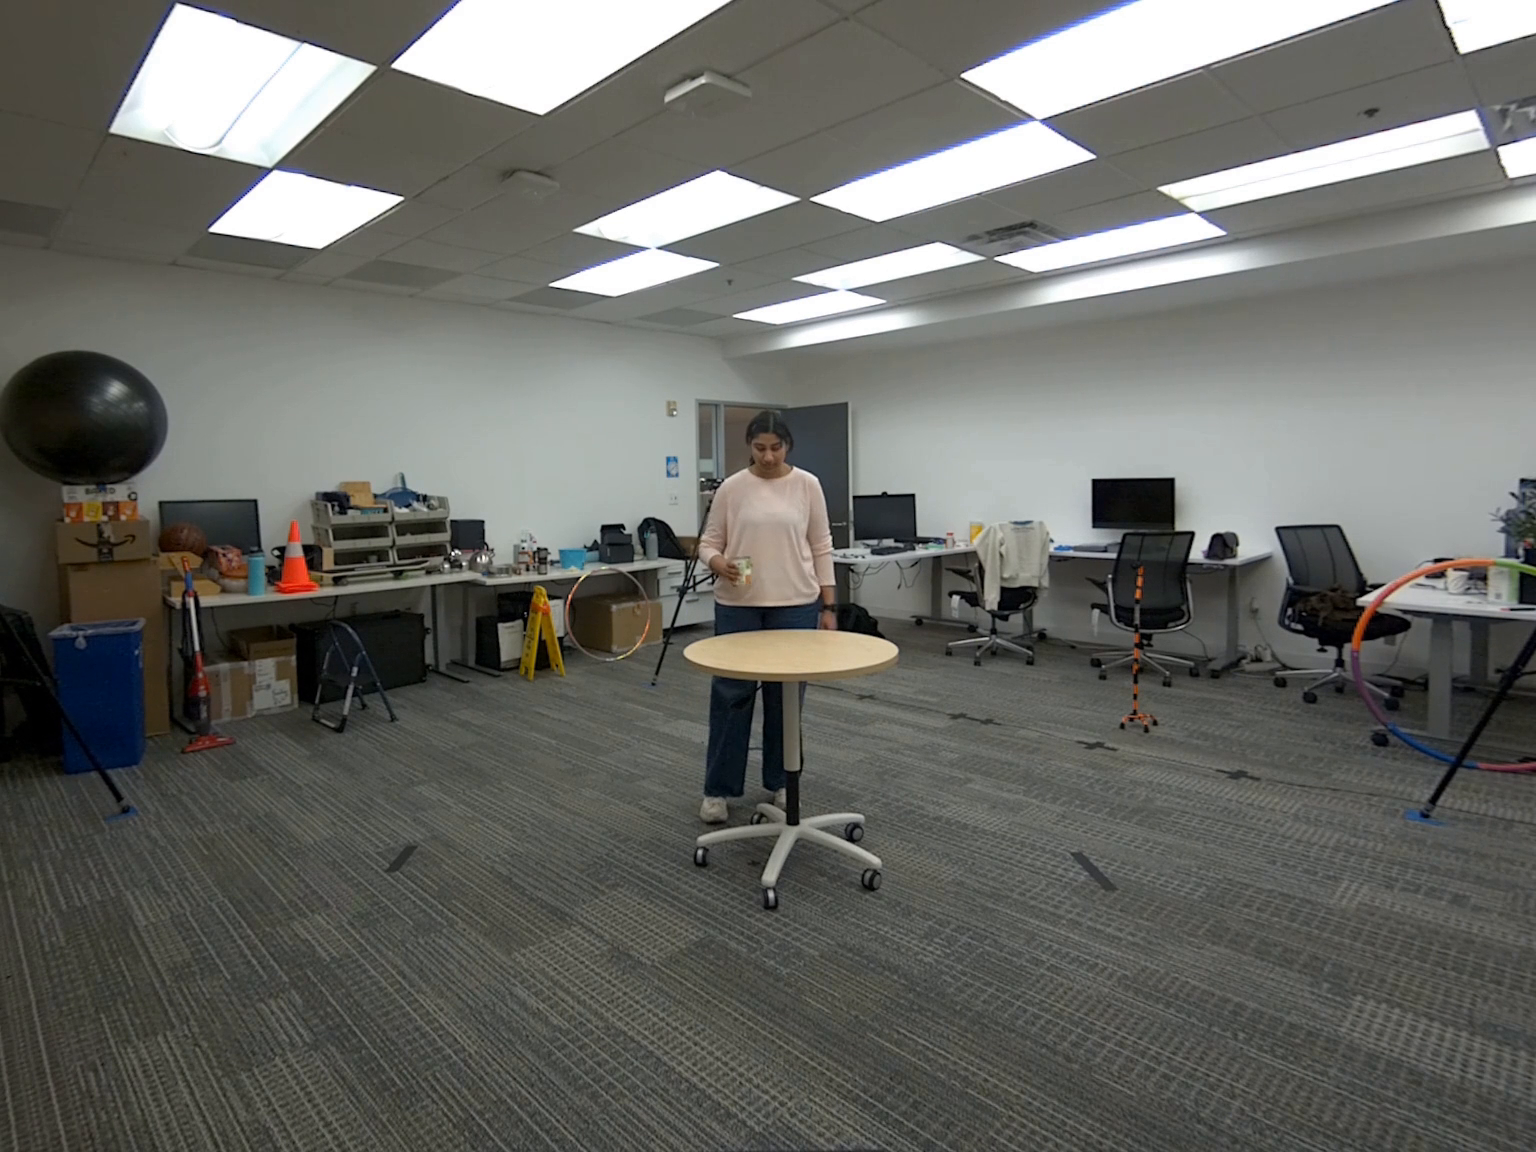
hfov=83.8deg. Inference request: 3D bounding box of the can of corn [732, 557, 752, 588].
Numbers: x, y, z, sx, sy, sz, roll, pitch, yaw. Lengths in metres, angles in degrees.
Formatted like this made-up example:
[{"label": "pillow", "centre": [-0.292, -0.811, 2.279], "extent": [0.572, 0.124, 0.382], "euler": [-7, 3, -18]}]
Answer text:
[{"label": "can of corn", "centre": [-0.115, -0.015, 3.329], "extent": [0.074, 0.110, 0.074], "euler": [-3, 5, -1]}]
